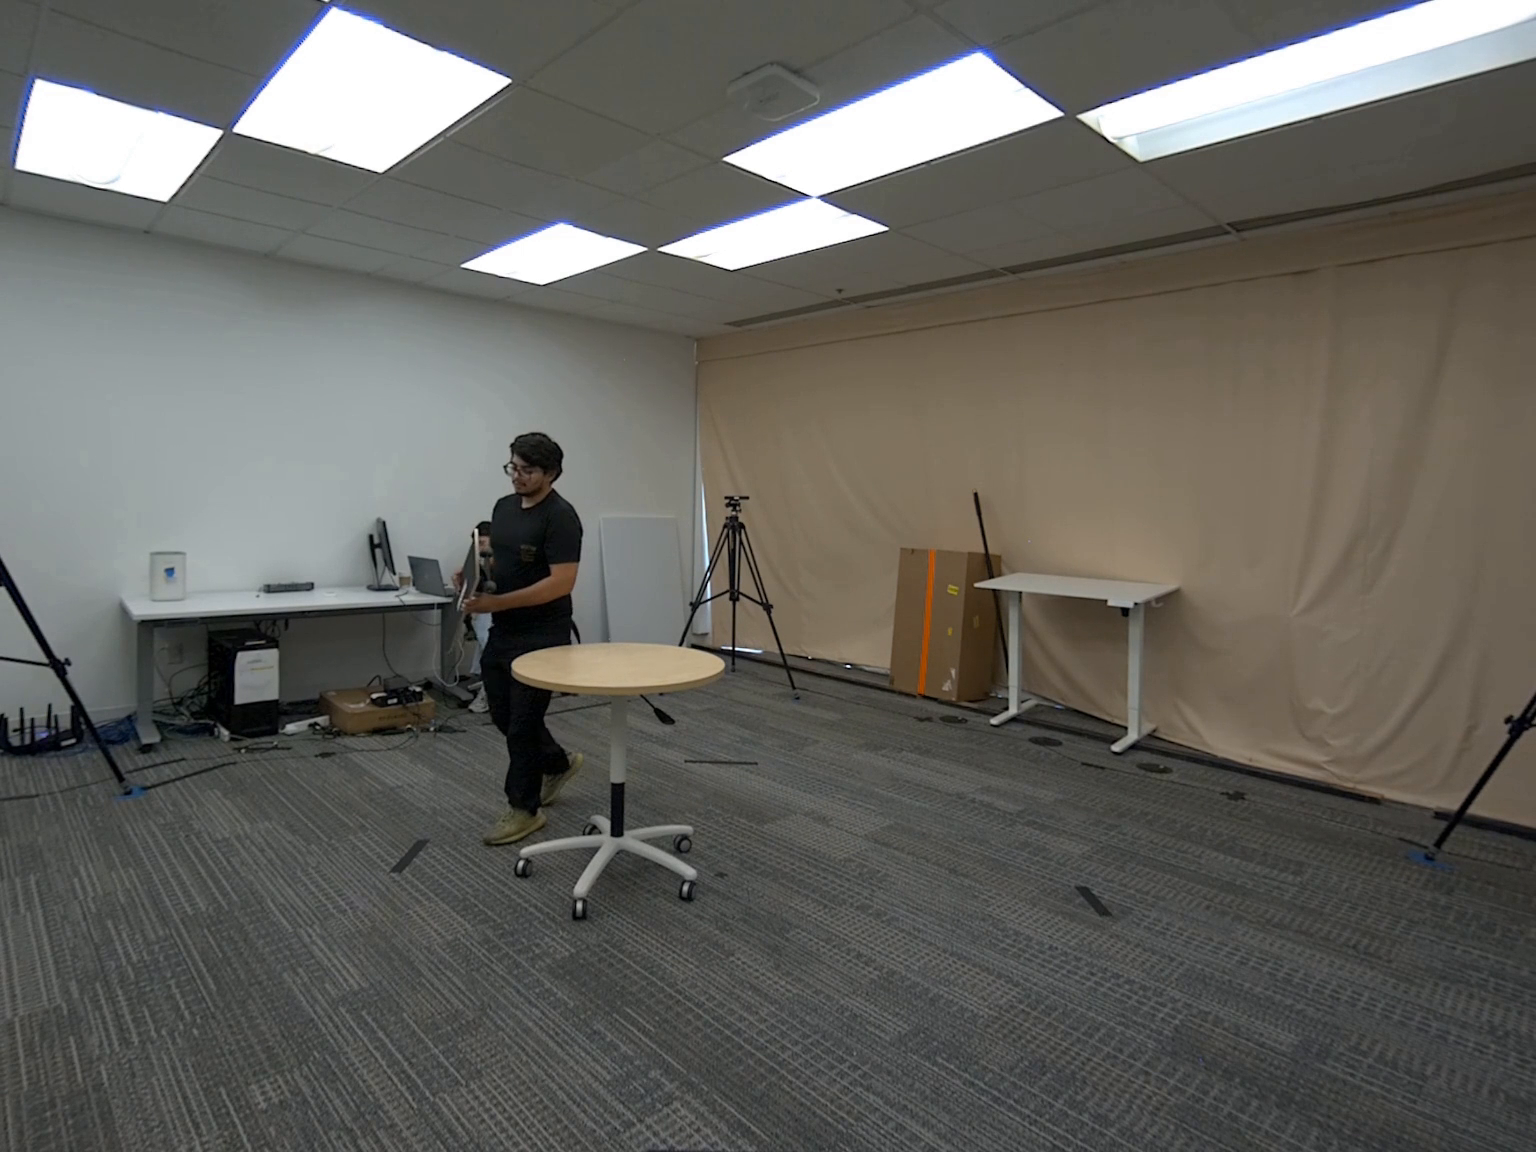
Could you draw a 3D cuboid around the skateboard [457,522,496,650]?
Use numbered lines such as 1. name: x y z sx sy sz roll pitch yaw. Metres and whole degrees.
1. skateboard: -1.190 0.091 3.334 0.108 0.198 0.782 4 -34 -28
